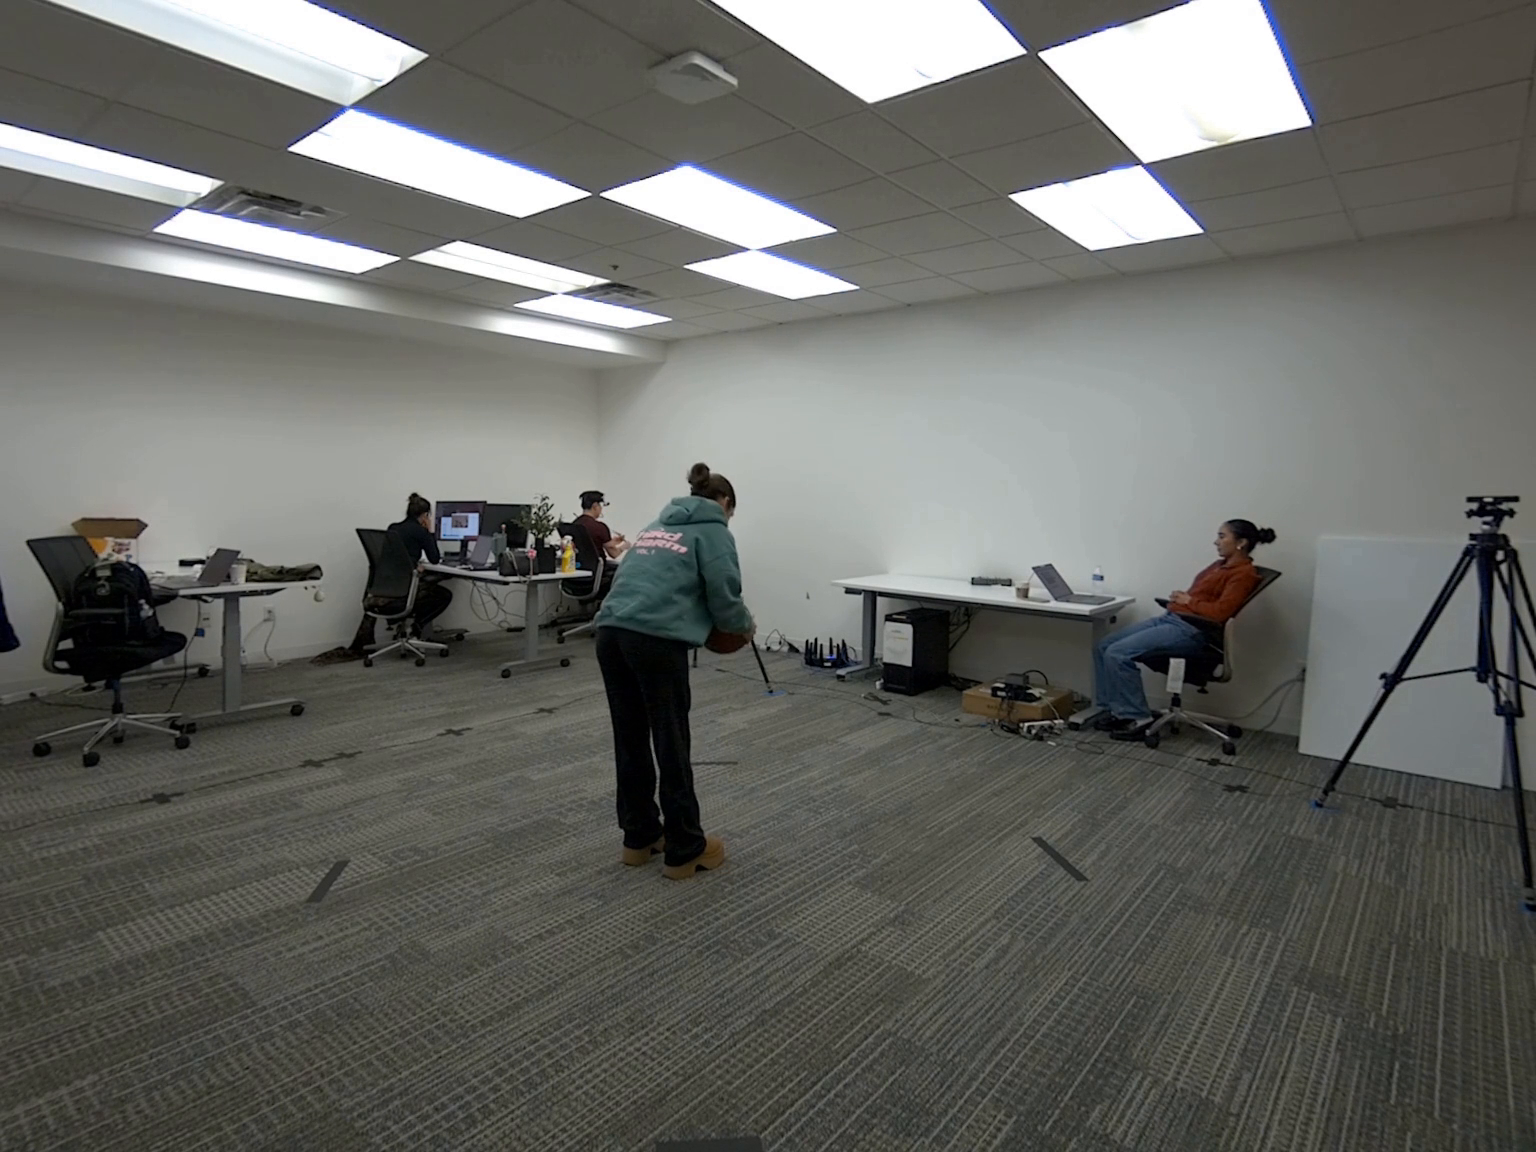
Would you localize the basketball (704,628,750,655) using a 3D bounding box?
[{"bbox_3d":[-0.196,0.205,3.460,0.235,0.235,0.237,1,4,-2],"label":"basketball"}]
